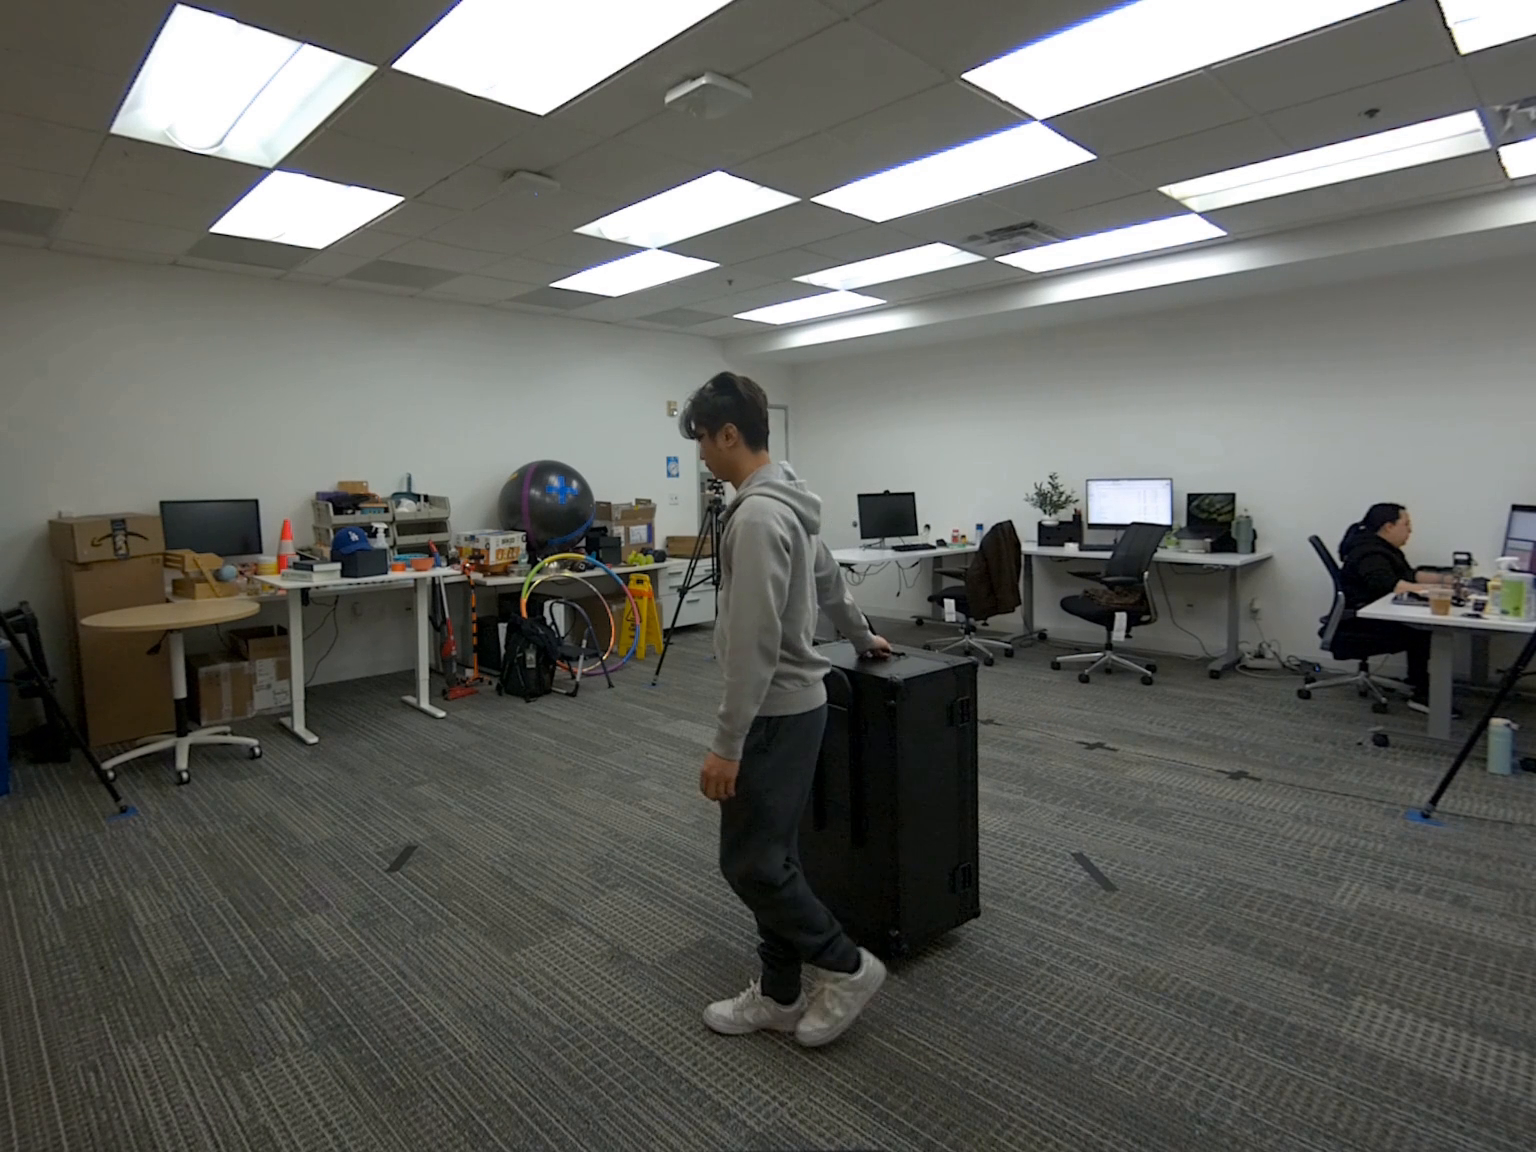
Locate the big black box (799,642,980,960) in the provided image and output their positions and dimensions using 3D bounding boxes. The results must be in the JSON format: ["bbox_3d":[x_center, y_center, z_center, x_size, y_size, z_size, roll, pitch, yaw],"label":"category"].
[{"bbox_3d":[0.344,0.672,2.623,0.386,0.857,0.537,-6,6,-37],"label":"big black box"}]
